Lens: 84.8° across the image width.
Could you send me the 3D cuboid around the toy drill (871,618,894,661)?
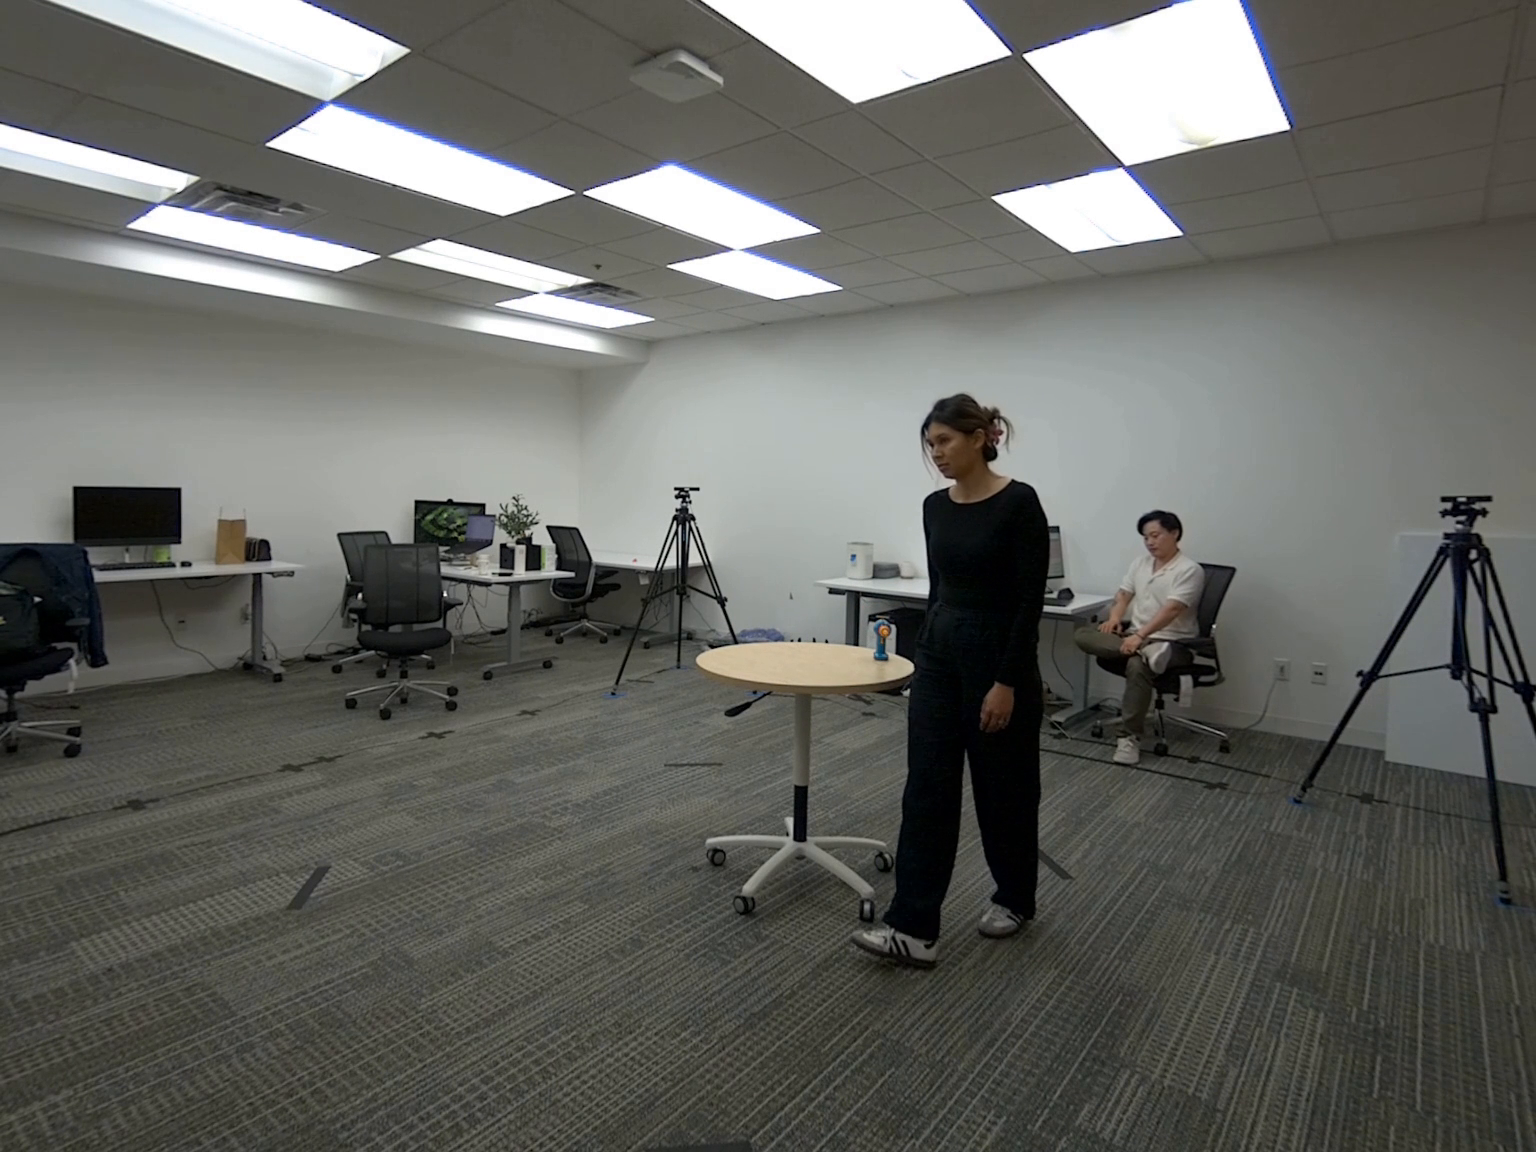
[{"bbox_3d":[0.409,0.229,3.033,0.061,0.145,0.171,1,4,-4],"label":"toy drill"}]
